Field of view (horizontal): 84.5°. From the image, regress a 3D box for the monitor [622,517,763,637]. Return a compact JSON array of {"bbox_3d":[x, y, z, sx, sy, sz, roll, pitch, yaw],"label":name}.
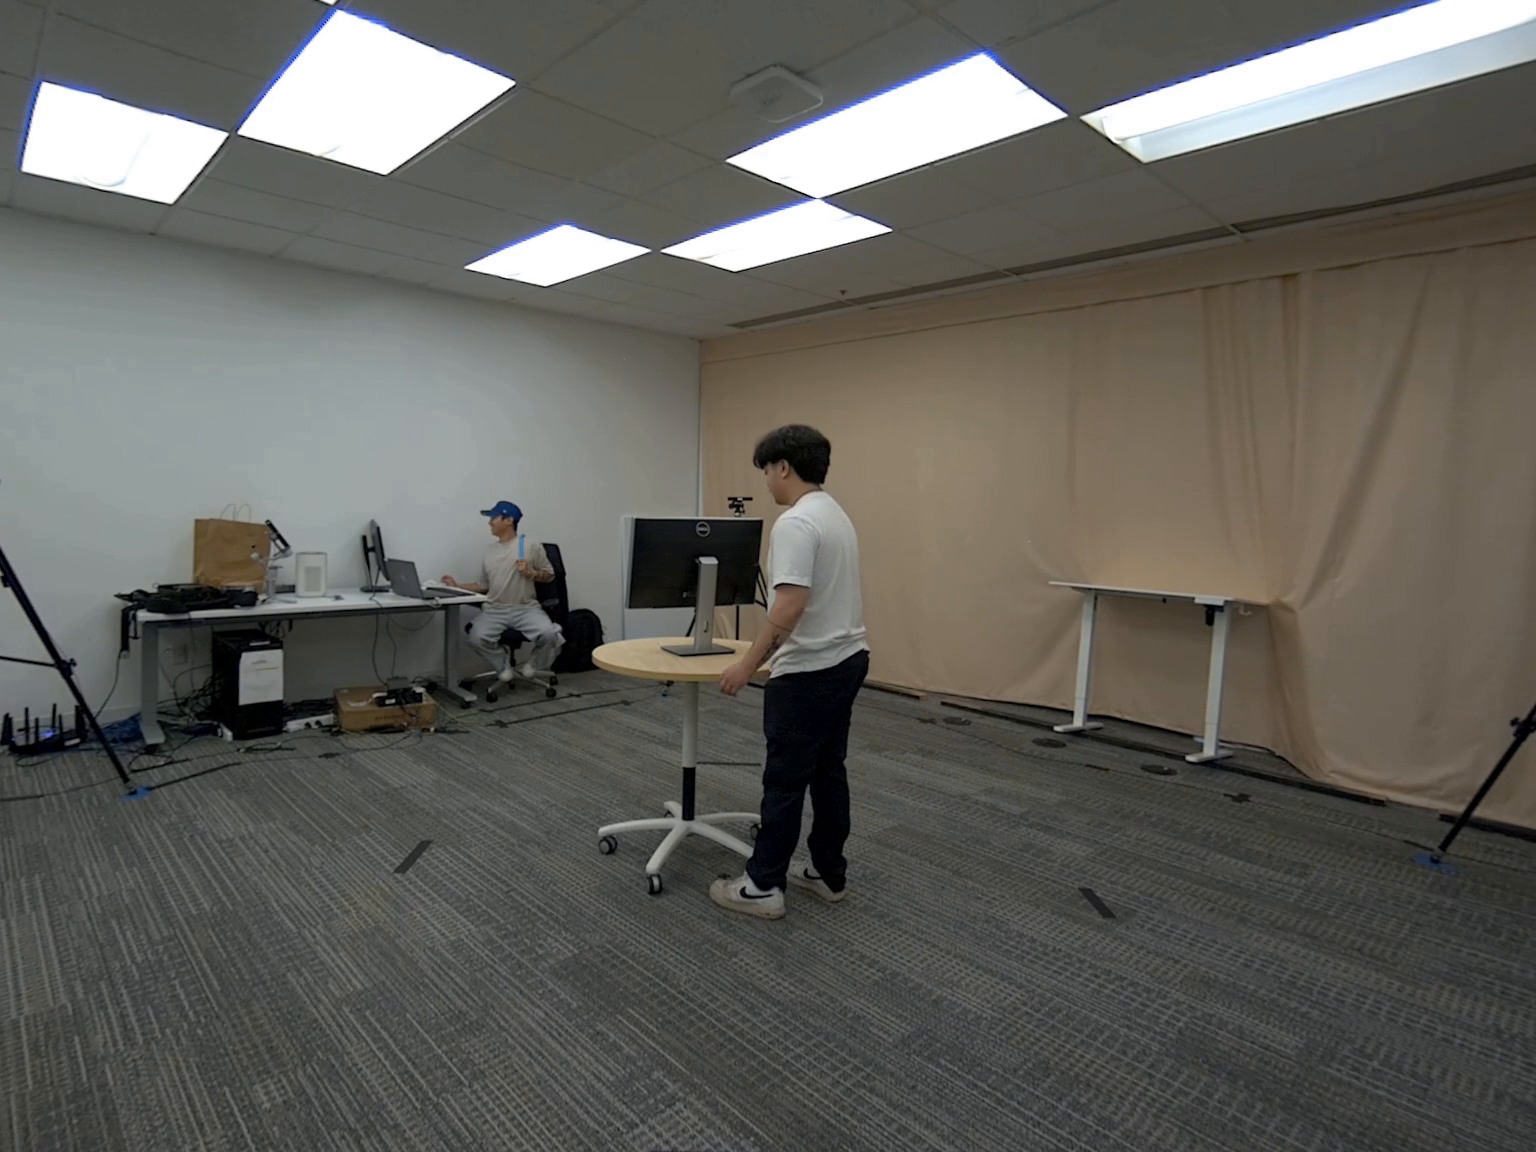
[{"bbox_3d":[-0.263,0.044,3.275,0.554,0.551,0.215,-1,8,-29],"label":"monitor"}]
